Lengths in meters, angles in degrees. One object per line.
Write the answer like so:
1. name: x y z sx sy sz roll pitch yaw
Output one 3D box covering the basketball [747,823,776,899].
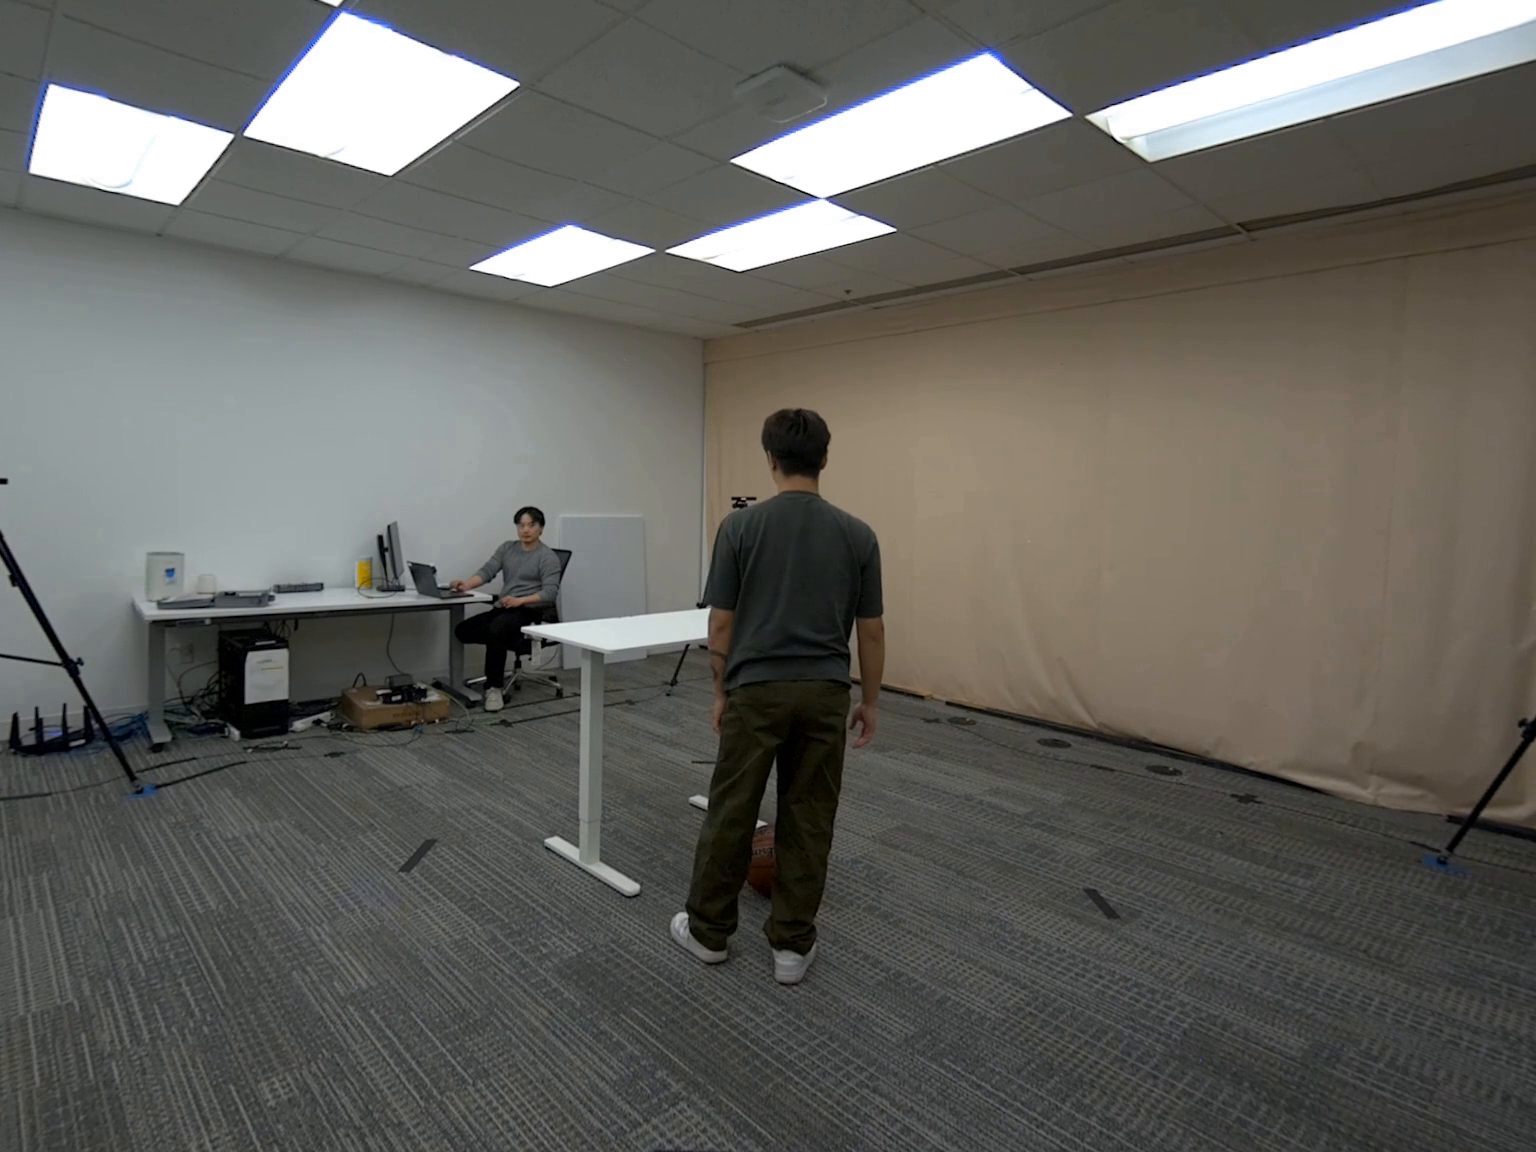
1. basketball: 0.018 1.005 2.972 0.236 0.235 0.237 1 4 -1
